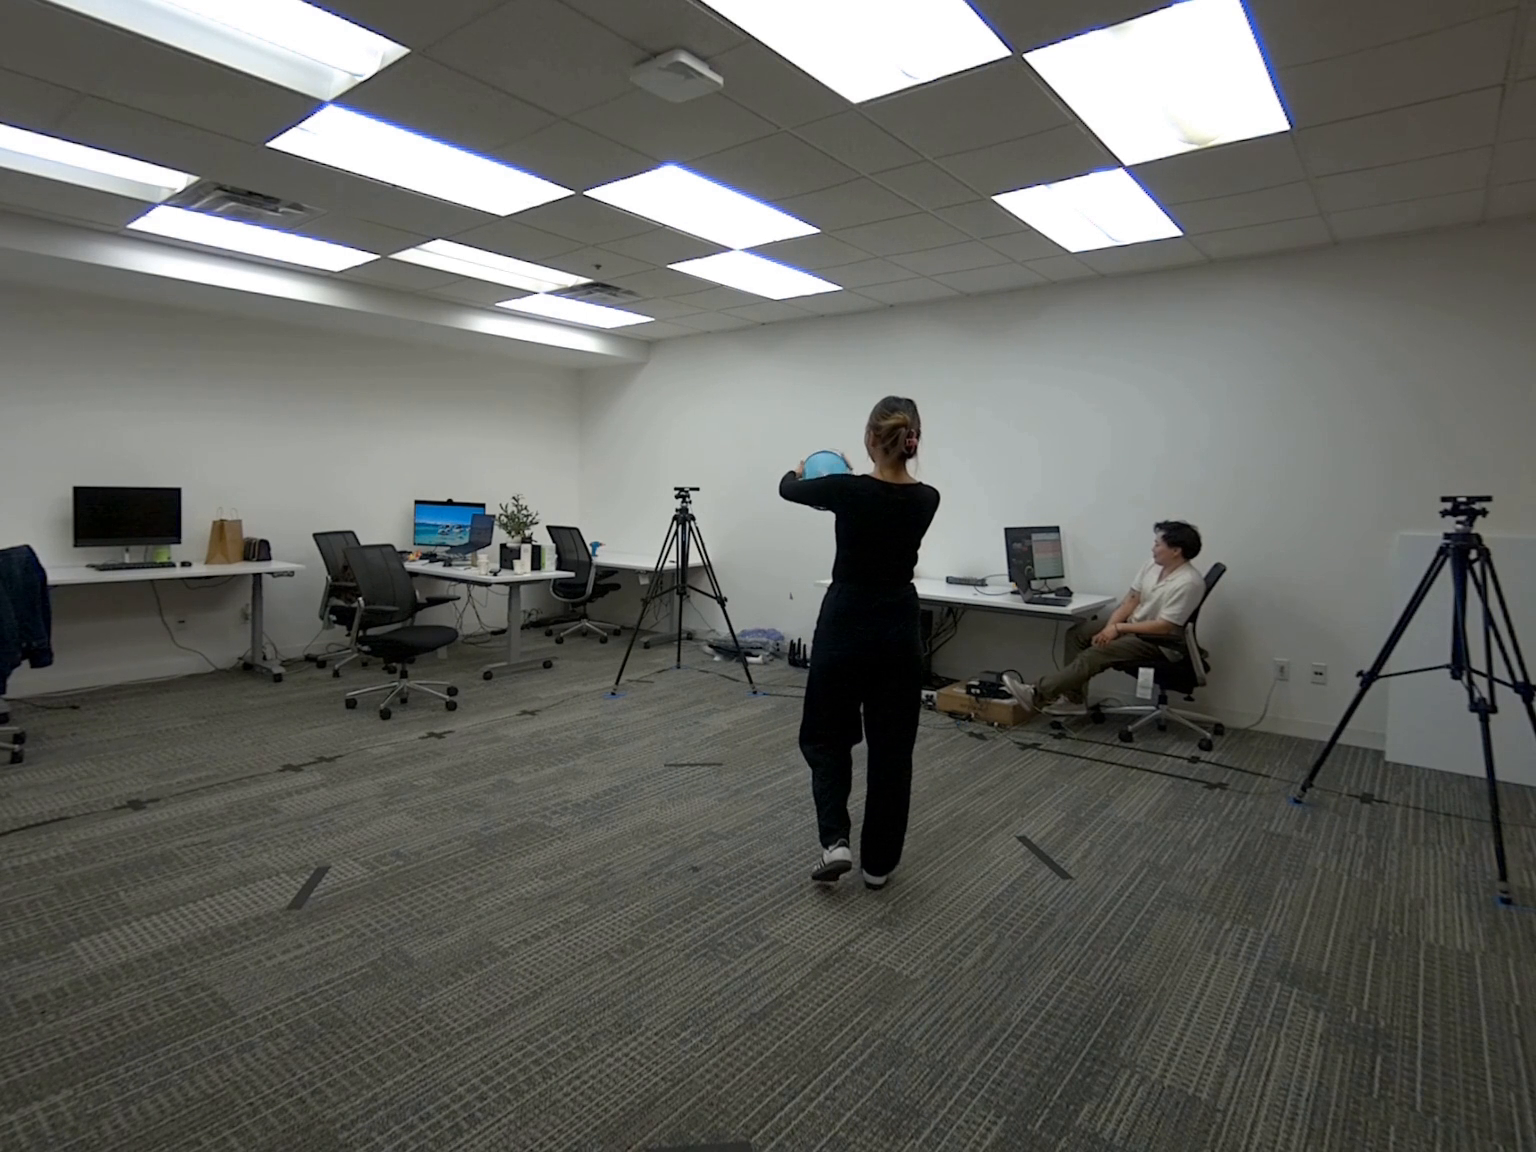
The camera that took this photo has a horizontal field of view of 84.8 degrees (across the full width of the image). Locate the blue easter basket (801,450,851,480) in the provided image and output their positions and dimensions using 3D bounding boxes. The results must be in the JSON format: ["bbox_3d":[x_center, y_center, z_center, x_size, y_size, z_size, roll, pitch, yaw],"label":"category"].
[{"bbox_3d":[0.229,-0.411,3.508,0.246,0.247,0.152,1,-16,8],"label":"blue easter basket"}]
